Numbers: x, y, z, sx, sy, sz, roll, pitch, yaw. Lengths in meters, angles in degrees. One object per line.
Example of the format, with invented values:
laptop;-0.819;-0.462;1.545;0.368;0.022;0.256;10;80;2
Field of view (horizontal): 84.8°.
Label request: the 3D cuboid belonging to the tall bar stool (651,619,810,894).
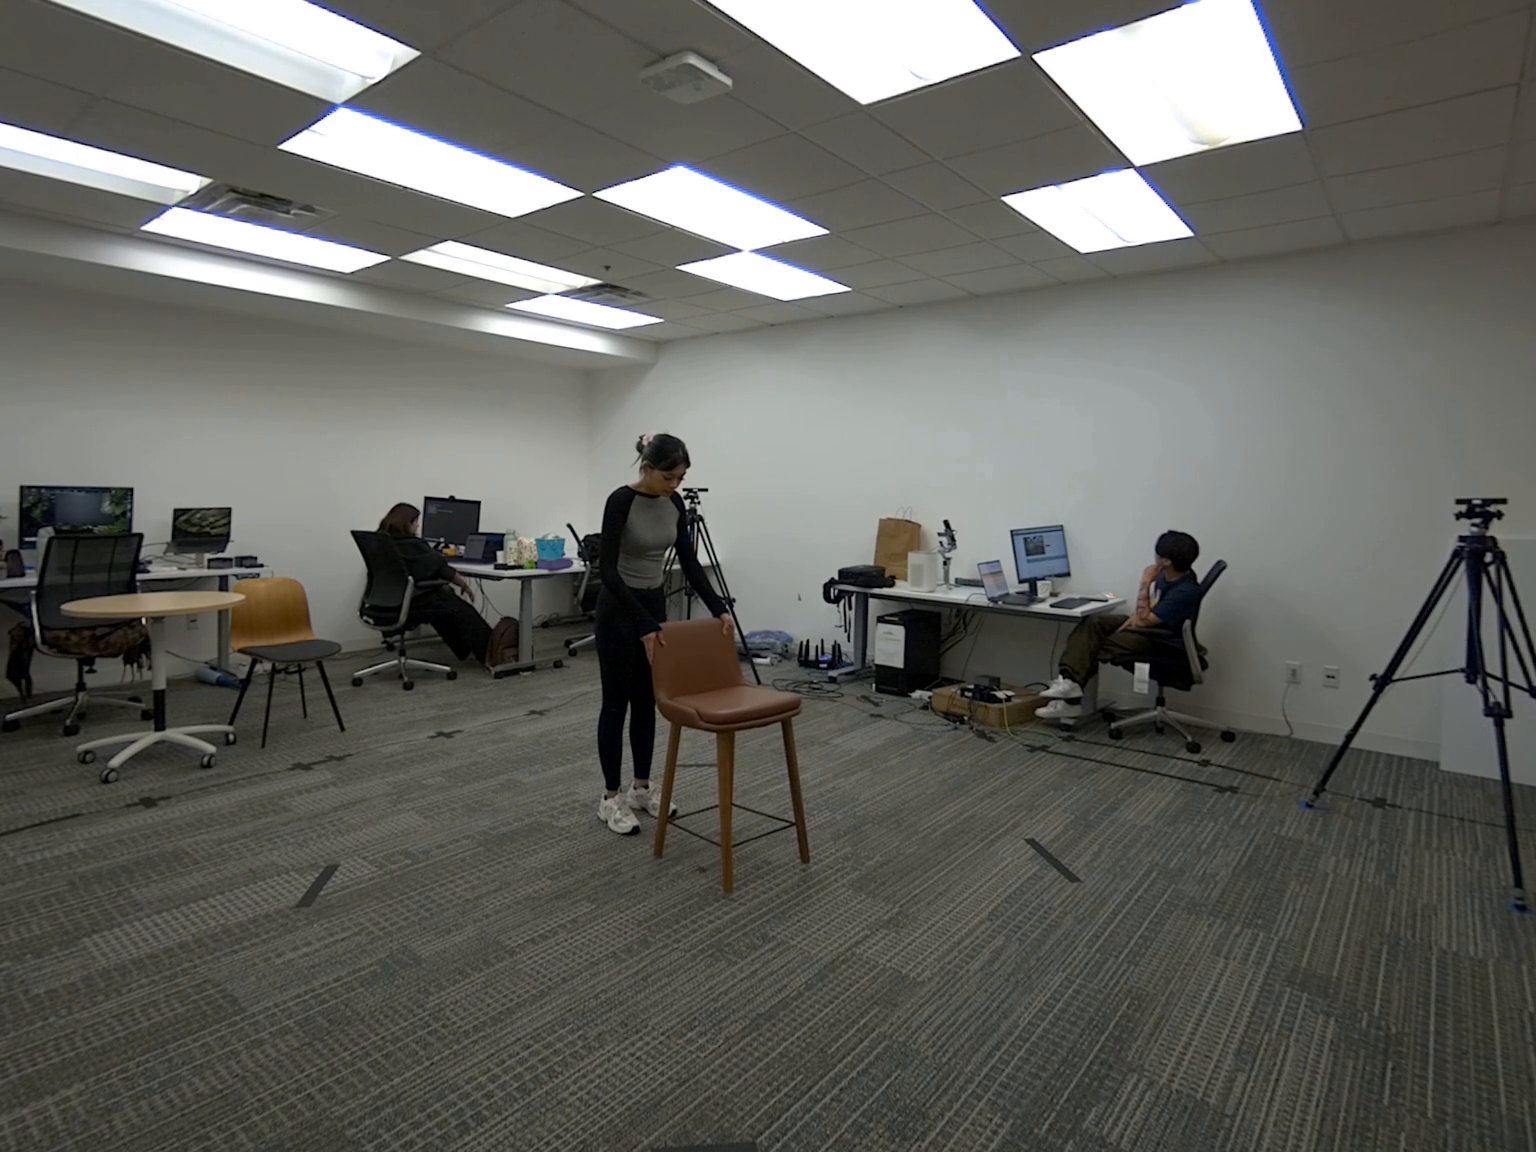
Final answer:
tall bar stool;-0.164;0.618;3.170;0.442;0.891;0.482;-2;-1;-42
